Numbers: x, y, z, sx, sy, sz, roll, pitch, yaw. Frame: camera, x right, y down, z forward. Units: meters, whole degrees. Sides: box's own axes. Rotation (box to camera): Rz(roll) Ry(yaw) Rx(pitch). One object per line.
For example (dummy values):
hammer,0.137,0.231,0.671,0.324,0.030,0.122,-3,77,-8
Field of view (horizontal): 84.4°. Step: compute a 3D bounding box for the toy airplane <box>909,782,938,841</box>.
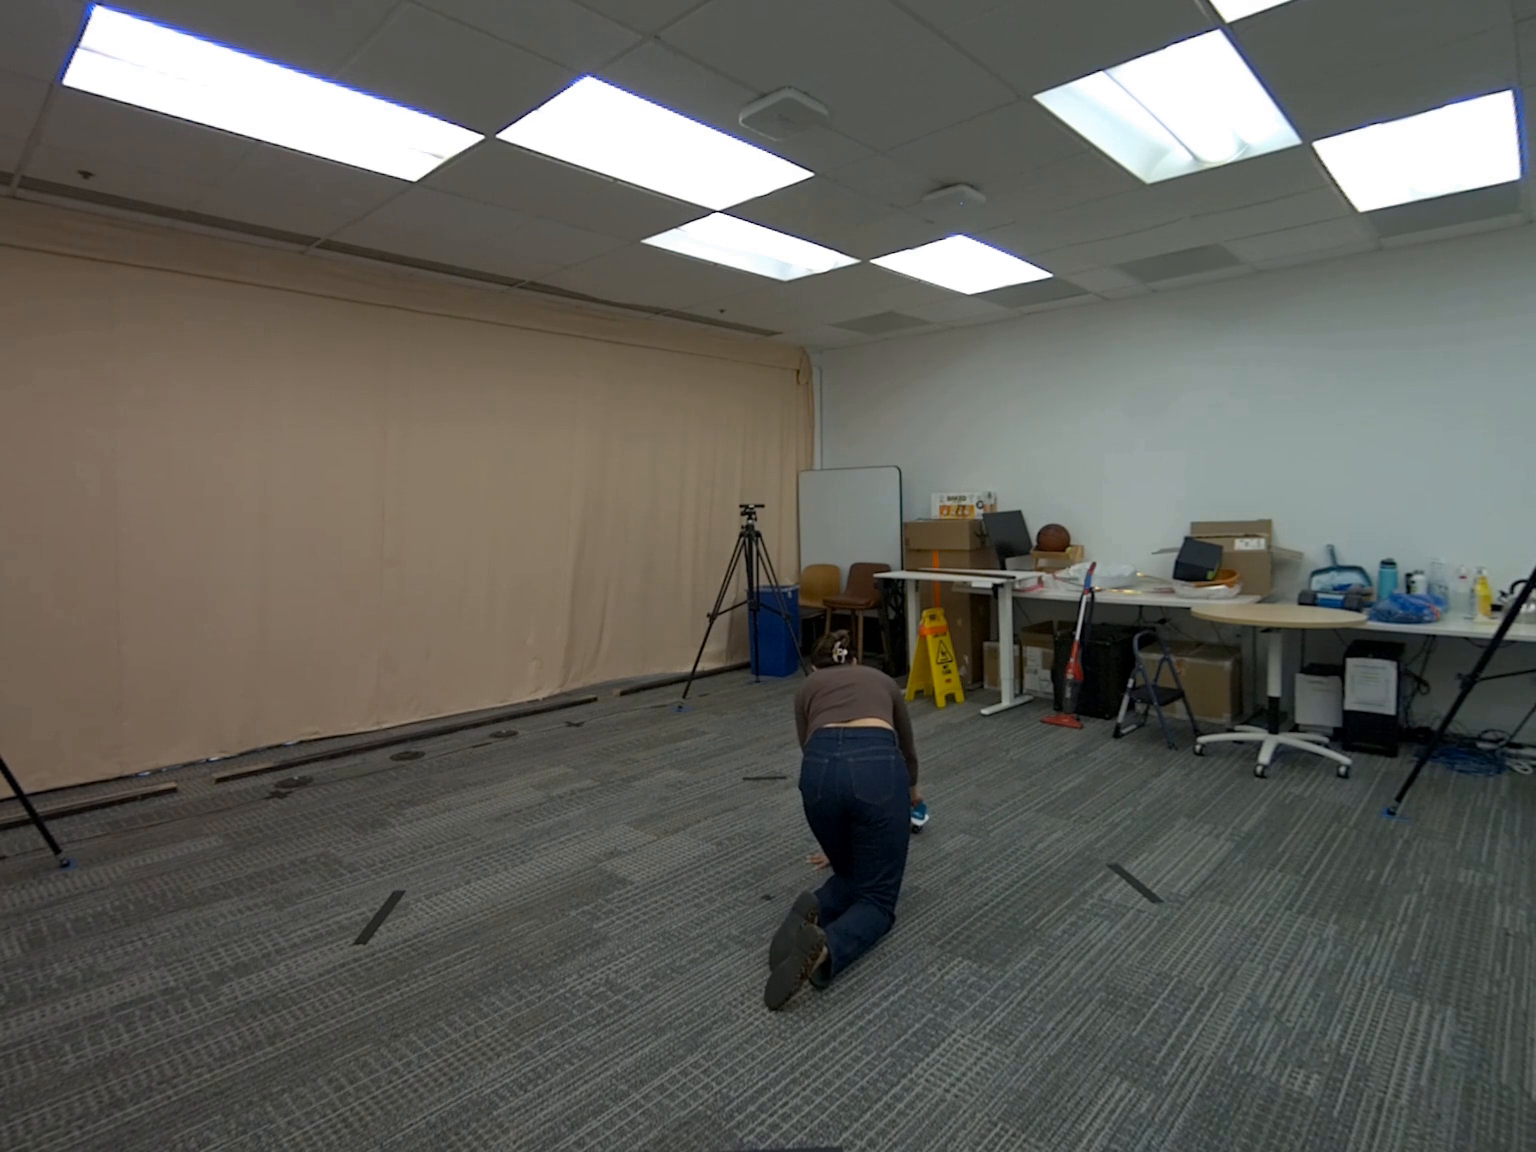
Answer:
toy airplane,0.562,1.002,3.619,0.260,0.156,0.251,-3,4,3
